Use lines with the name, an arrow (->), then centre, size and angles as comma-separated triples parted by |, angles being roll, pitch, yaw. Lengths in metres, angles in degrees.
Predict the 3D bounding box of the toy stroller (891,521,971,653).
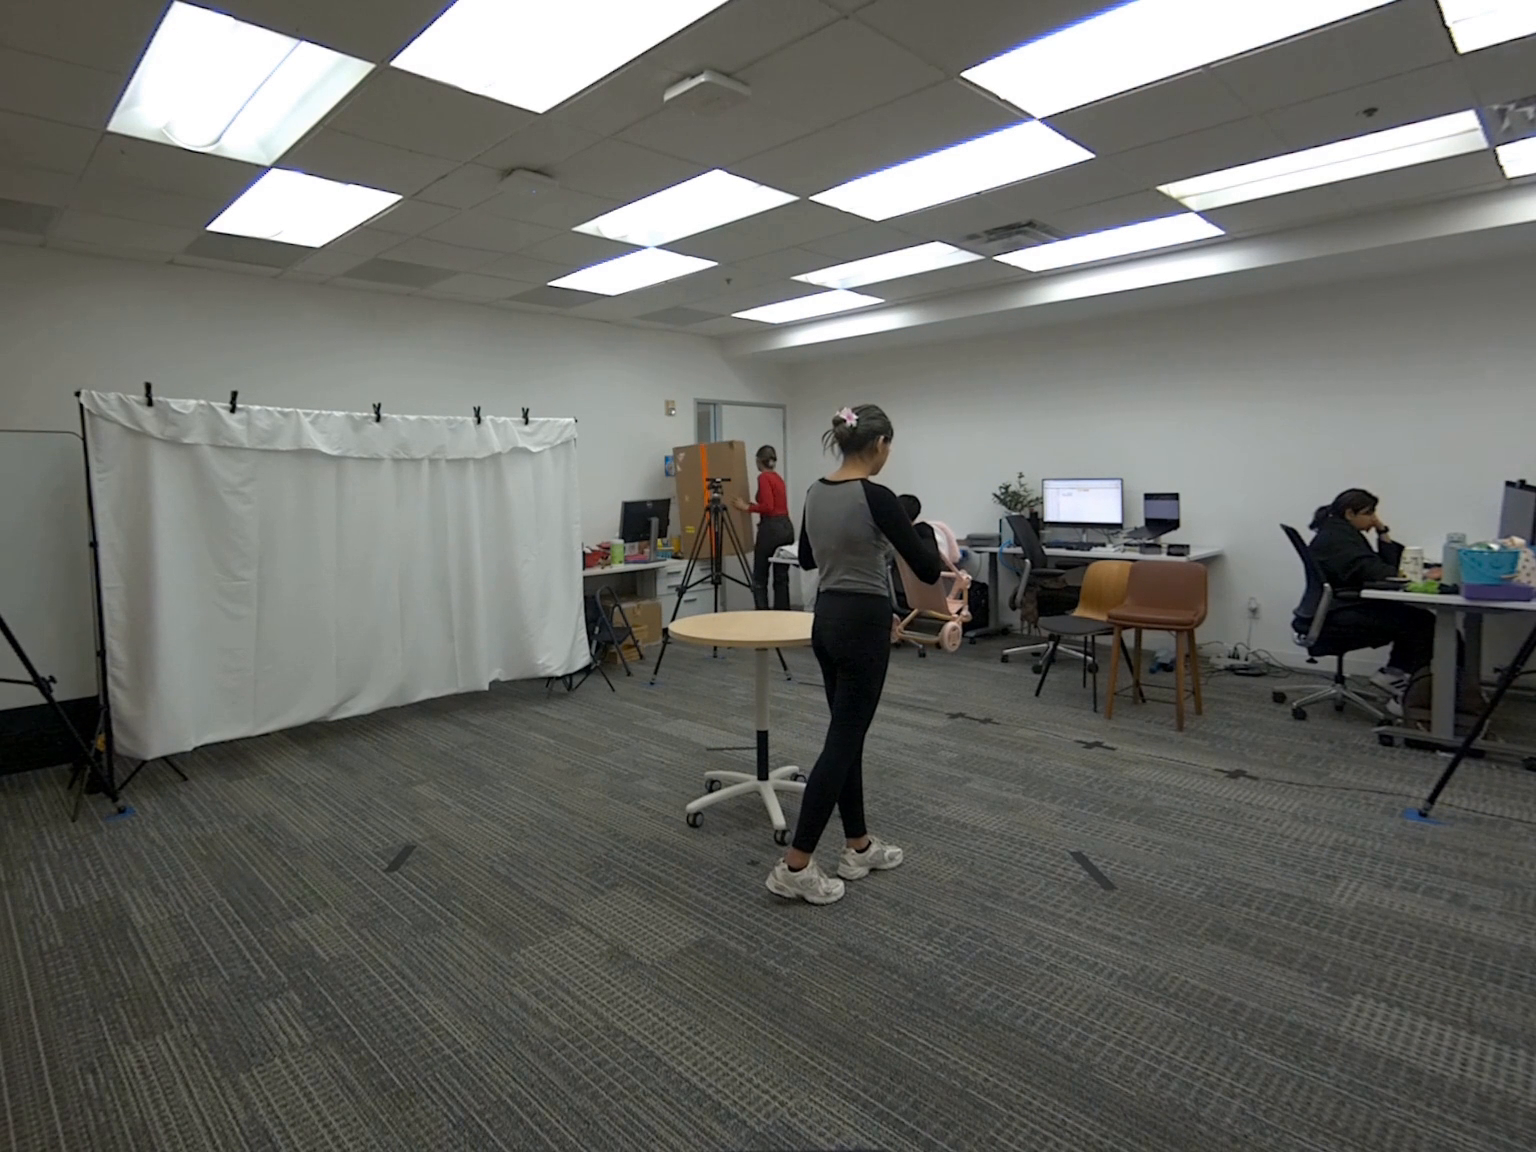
toy stroller -> 0.616, 0.034, 3.198 | 0.335, 0.528, 0.290 | -20, 17, -40
